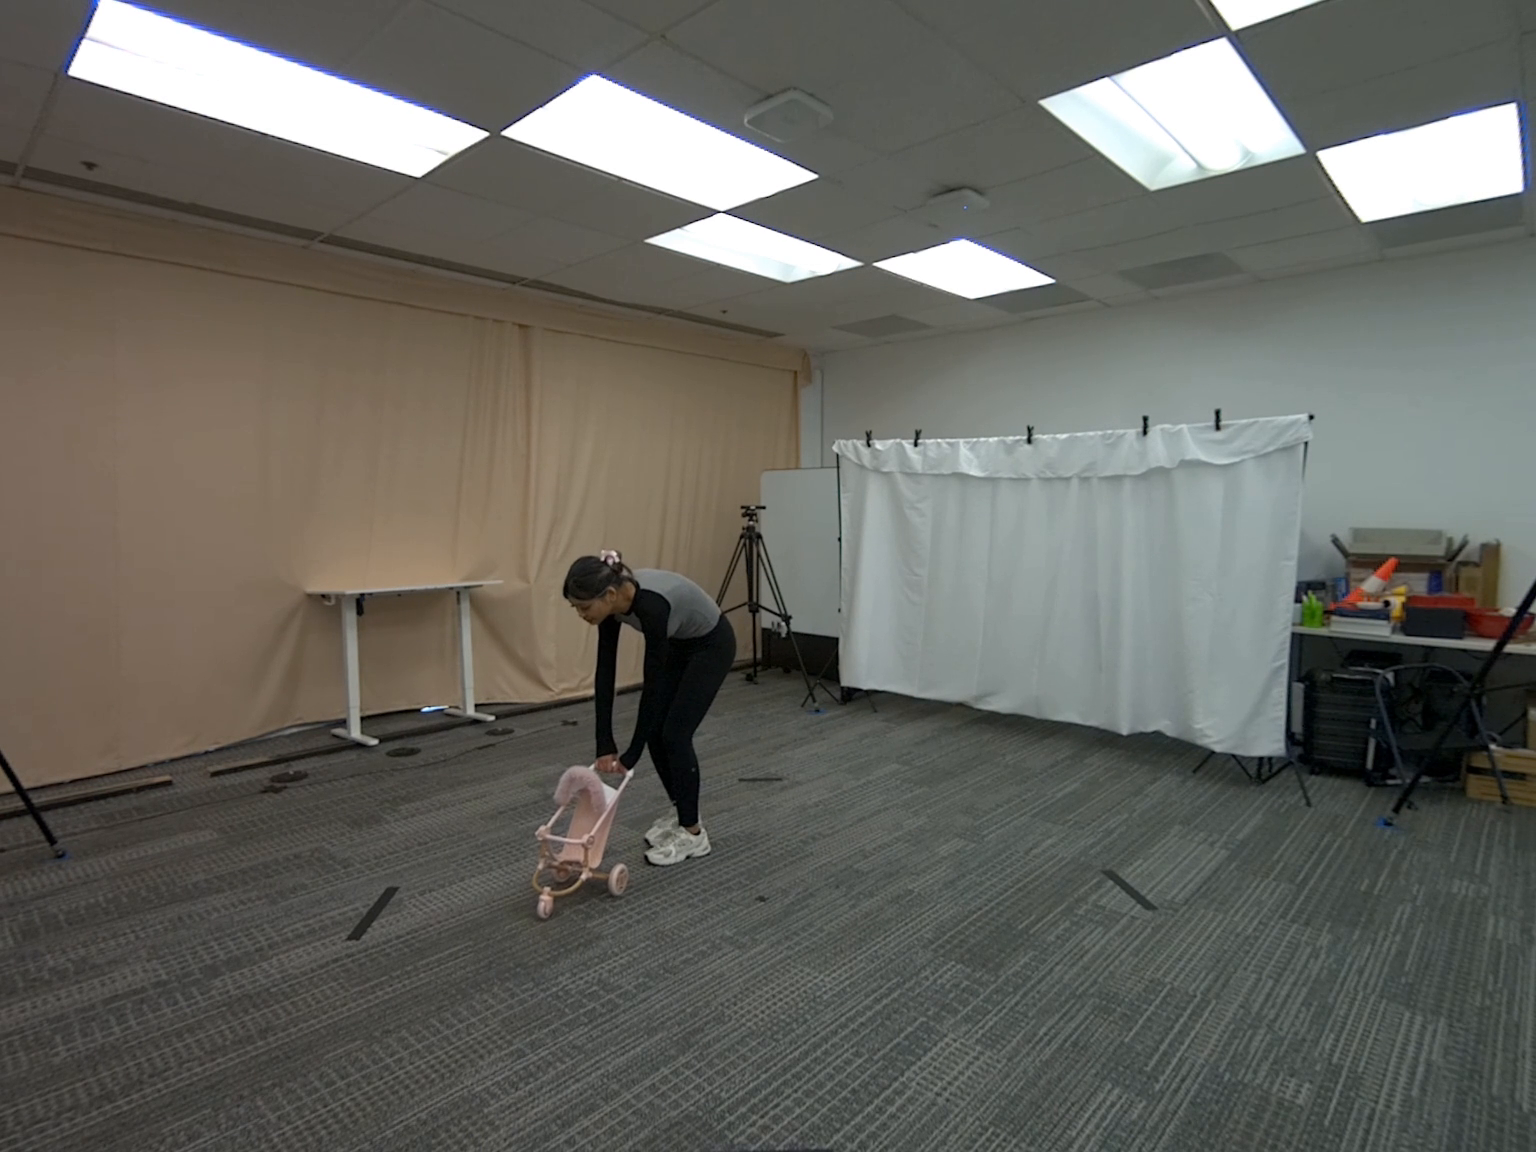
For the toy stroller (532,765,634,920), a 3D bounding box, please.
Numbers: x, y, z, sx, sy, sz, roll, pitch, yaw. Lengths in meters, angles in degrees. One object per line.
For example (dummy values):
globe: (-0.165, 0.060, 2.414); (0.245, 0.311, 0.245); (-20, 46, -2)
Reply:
toy stroller: (-0.677, 0.920, 3.016); (0.289, 0.538, 0.330); (0, -14, 30)
